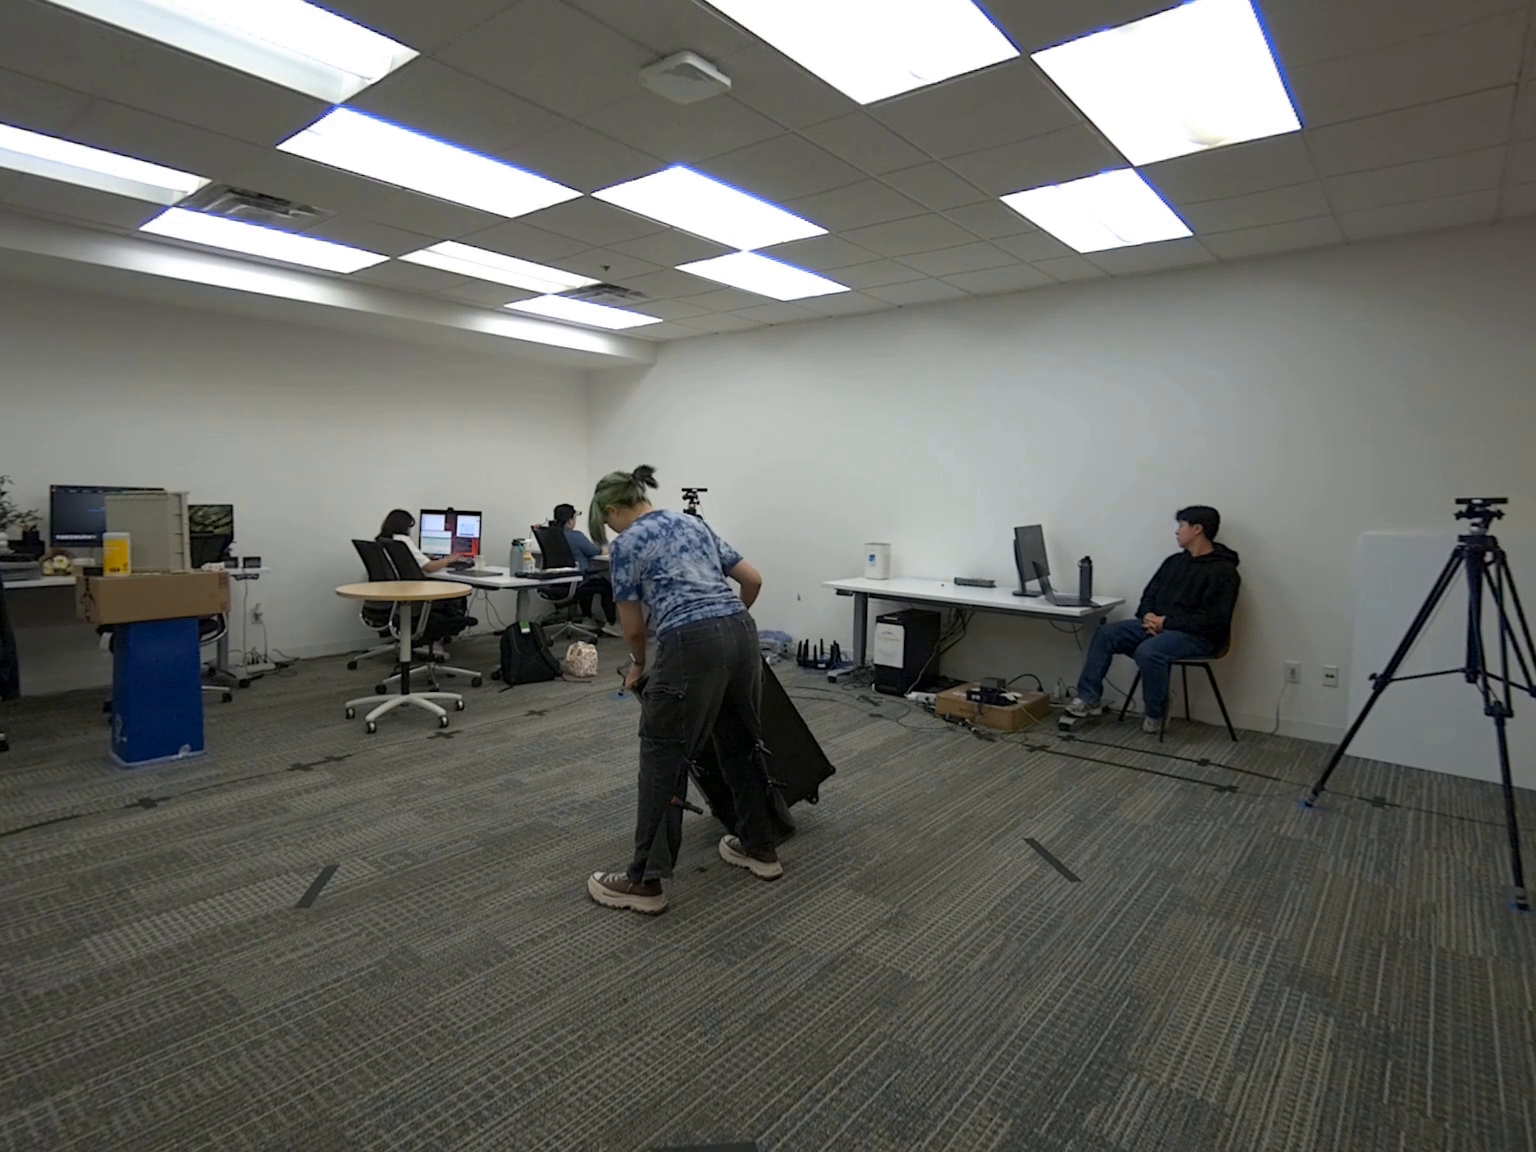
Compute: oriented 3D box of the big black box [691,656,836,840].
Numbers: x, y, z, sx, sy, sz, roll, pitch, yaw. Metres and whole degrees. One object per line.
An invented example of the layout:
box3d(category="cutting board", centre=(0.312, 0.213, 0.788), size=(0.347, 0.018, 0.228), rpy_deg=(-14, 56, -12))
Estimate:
box3d(category="big black box", centre=(-0.176, 0.606, 3.464), size=(0.519, 0.848, 0.404), rpy_deg=(-35, 12, -13))
